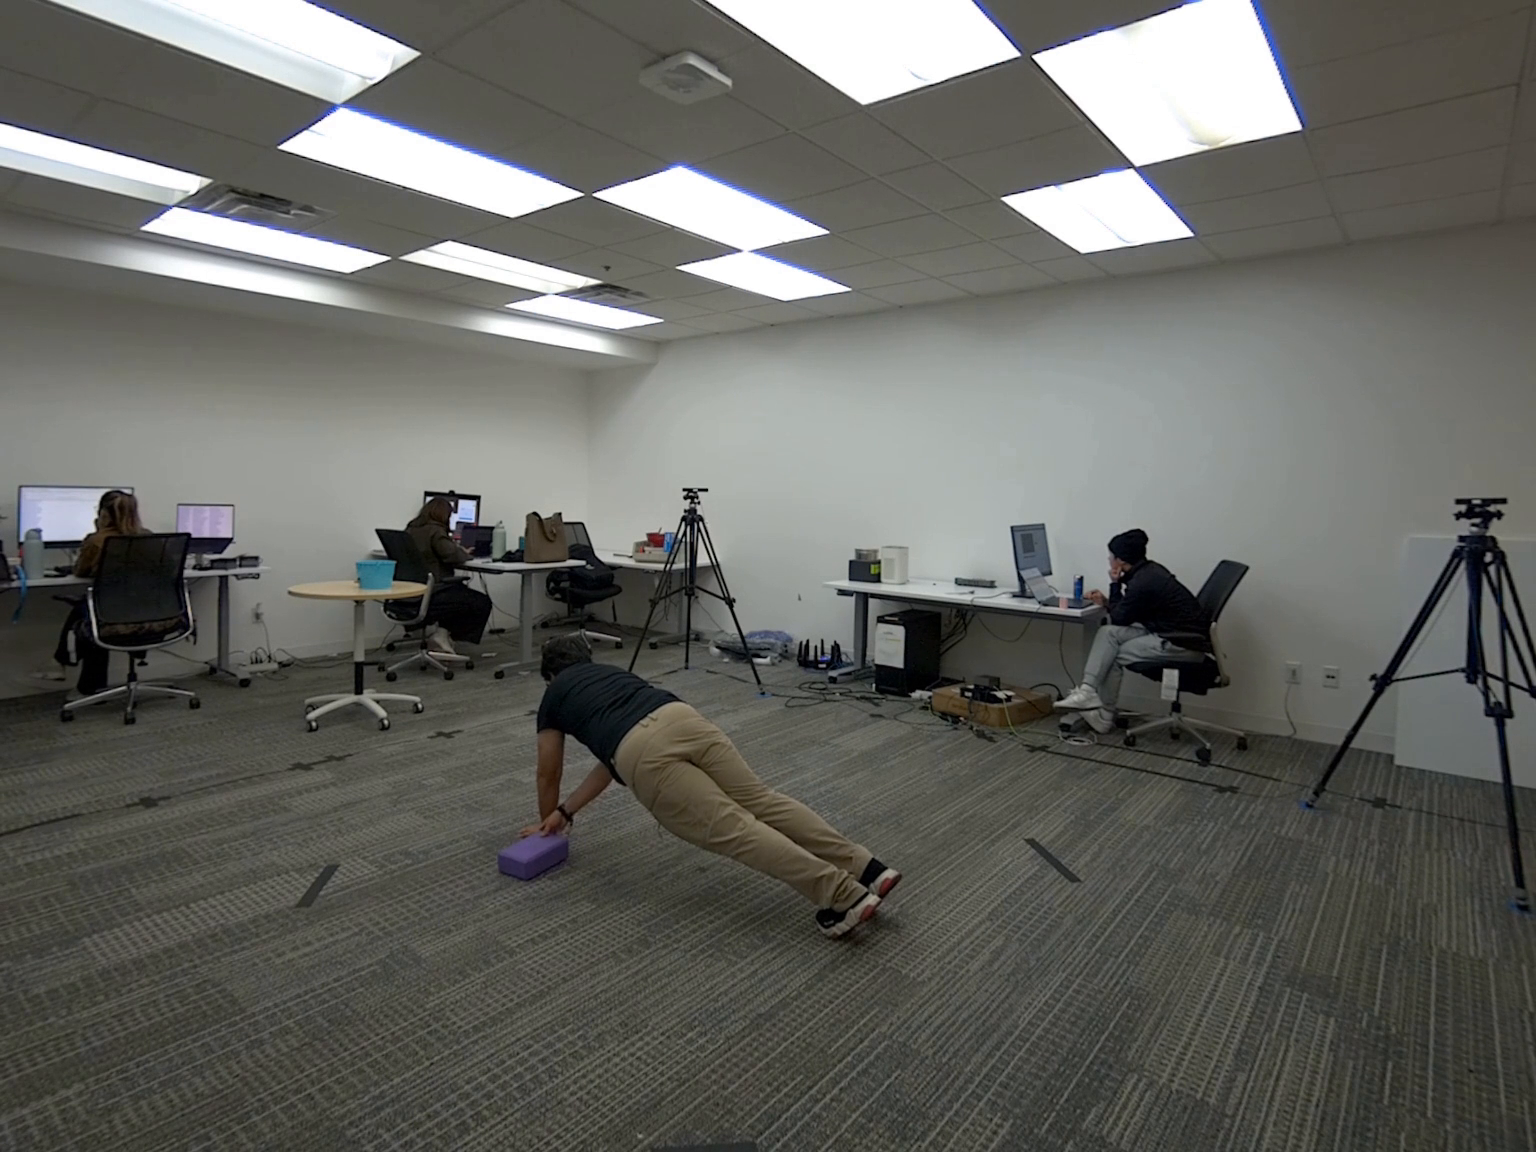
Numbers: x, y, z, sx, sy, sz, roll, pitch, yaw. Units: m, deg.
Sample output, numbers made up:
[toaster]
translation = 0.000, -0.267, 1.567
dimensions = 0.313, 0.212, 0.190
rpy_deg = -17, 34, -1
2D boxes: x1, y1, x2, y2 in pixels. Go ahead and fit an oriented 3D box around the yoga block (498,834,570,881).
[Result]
[yoga block]
translation = -0.866, 1.017, 3.115
dimensions = 0.153, 0.076, 0.223
rpy_deg = 2, 5, 30
